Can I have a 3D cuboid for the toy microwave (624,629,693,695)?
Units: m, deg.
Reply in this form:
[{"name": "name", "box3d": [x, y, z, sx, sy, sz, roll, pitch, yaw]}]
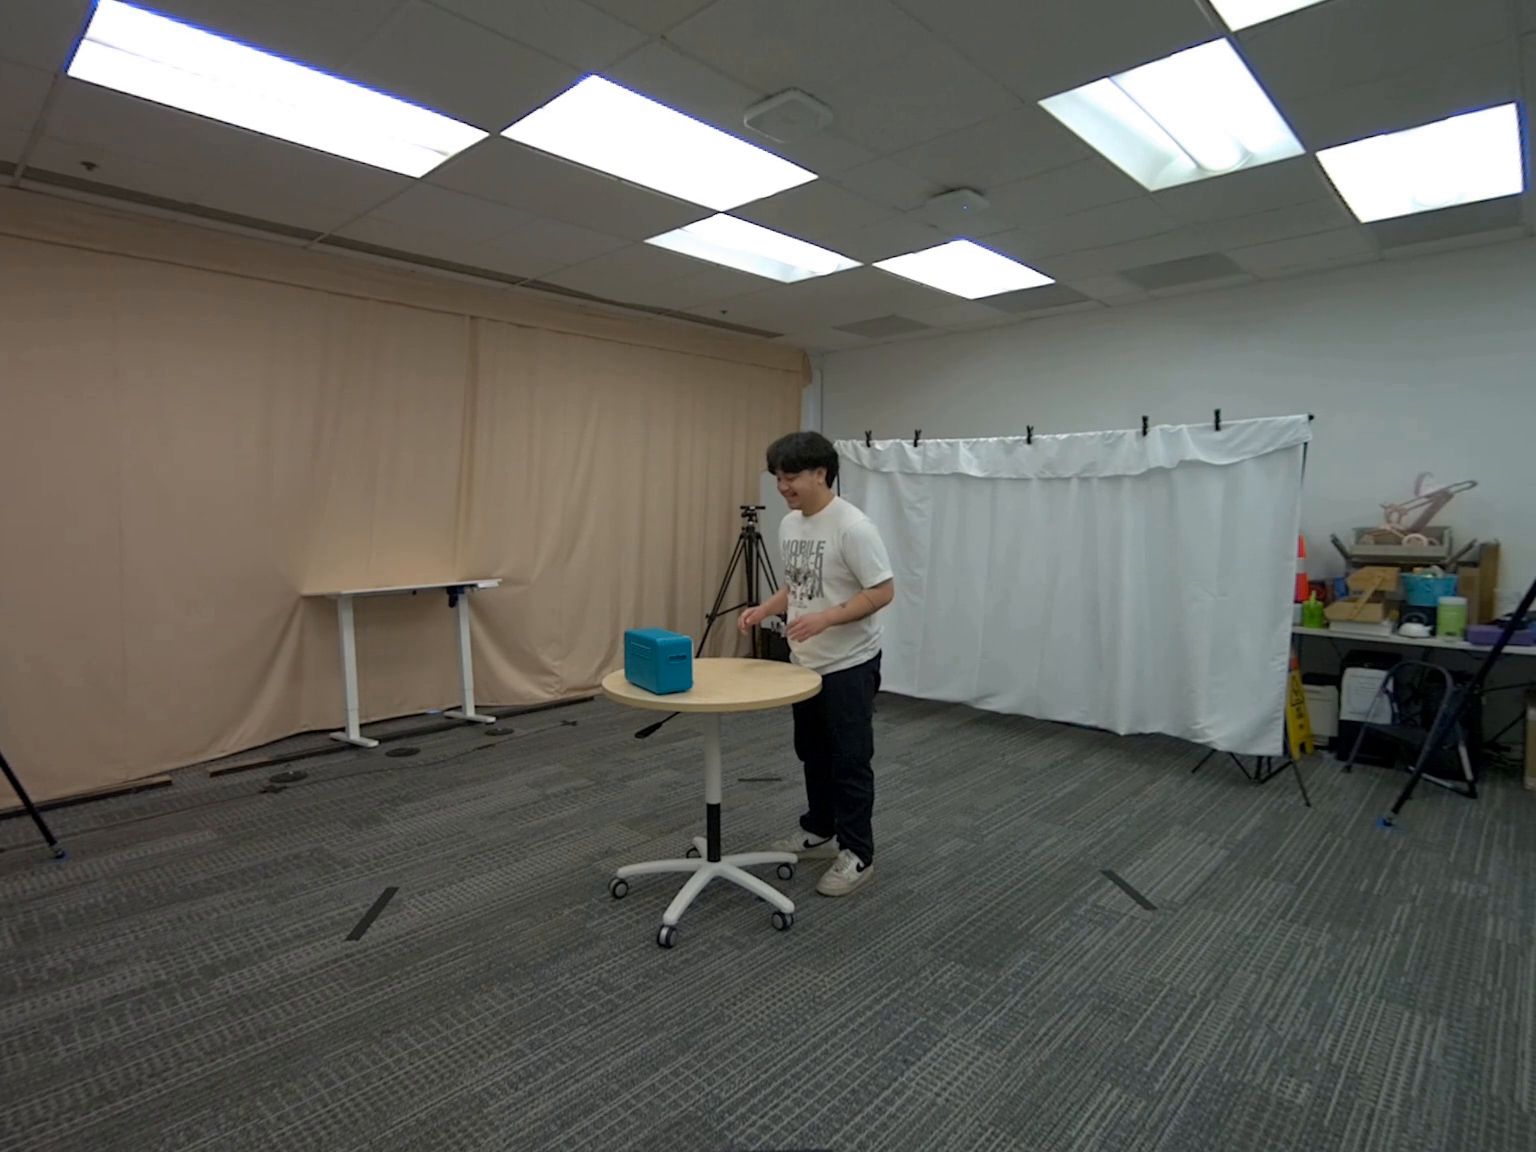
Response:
[{"name": "toy microwave", "box3d": [-0.361, 0.278, 2.812, 0.148, 0.184, 0.294, -3, 4, -31]}]
